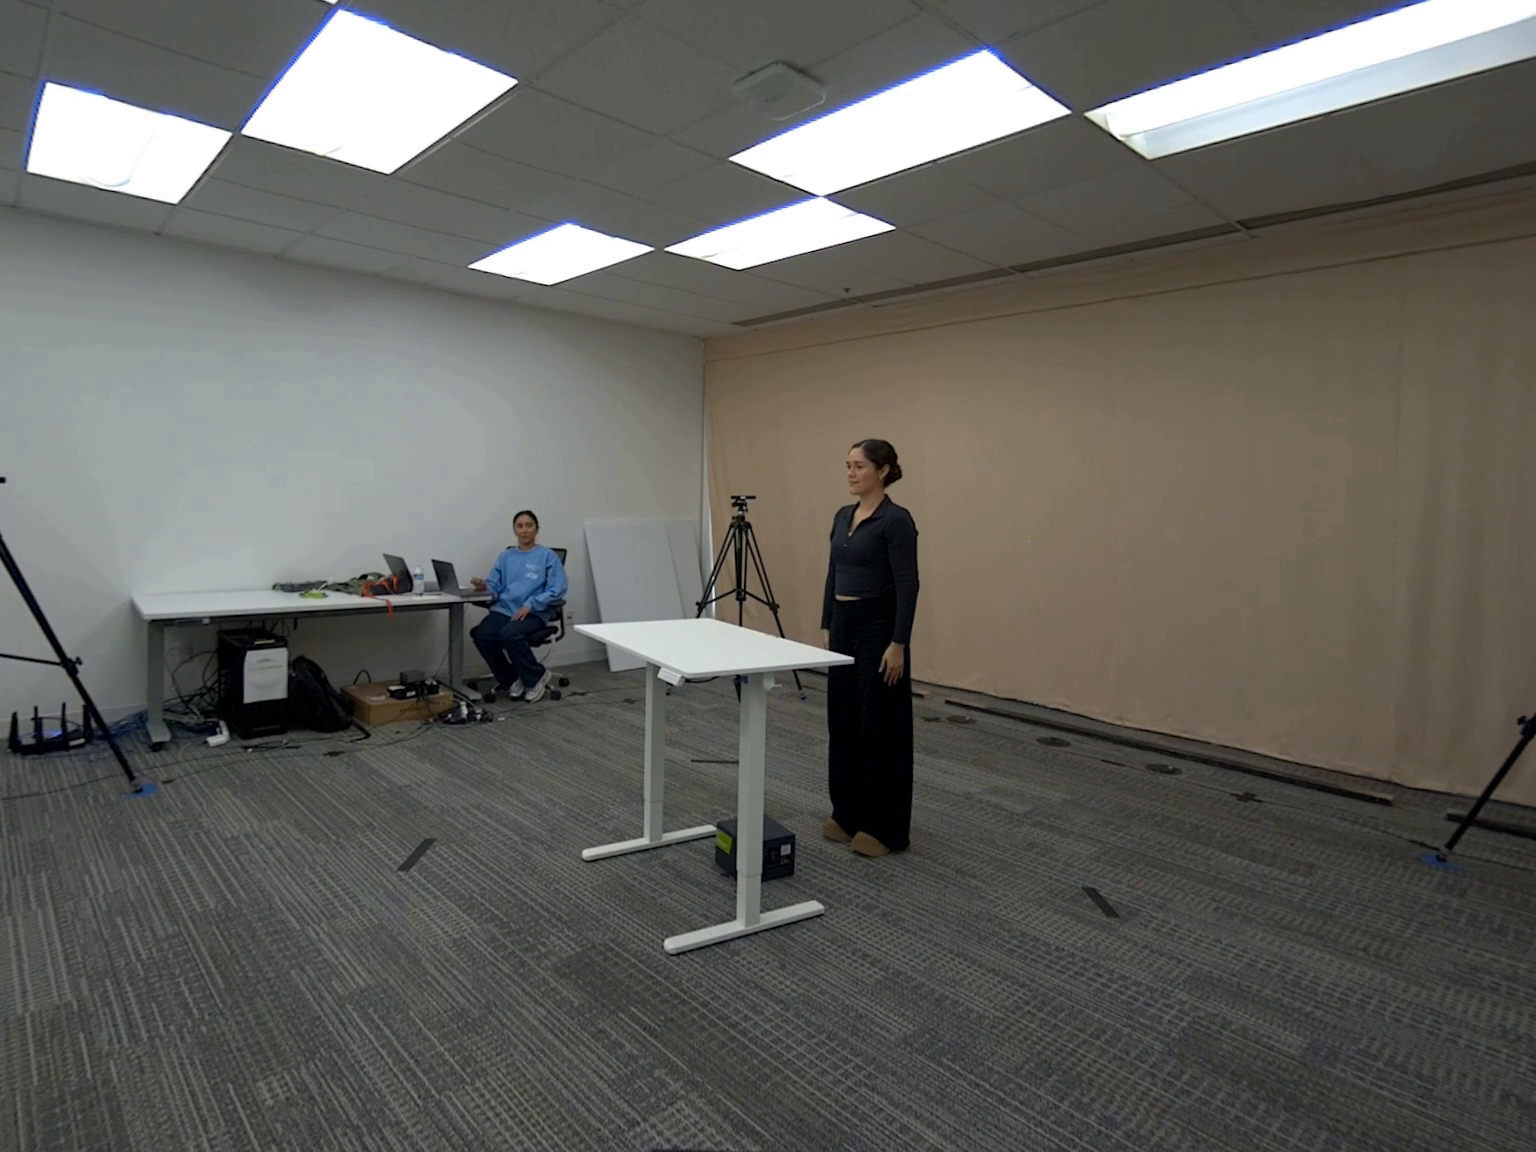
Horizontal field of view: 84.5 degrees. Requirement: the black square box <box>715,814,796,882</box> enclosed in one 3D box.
[{"bbox_3d":[-0.056,1.018,3.150,0.213,0.155,0.233,-1,5,-29],"label":"black square box"}]
